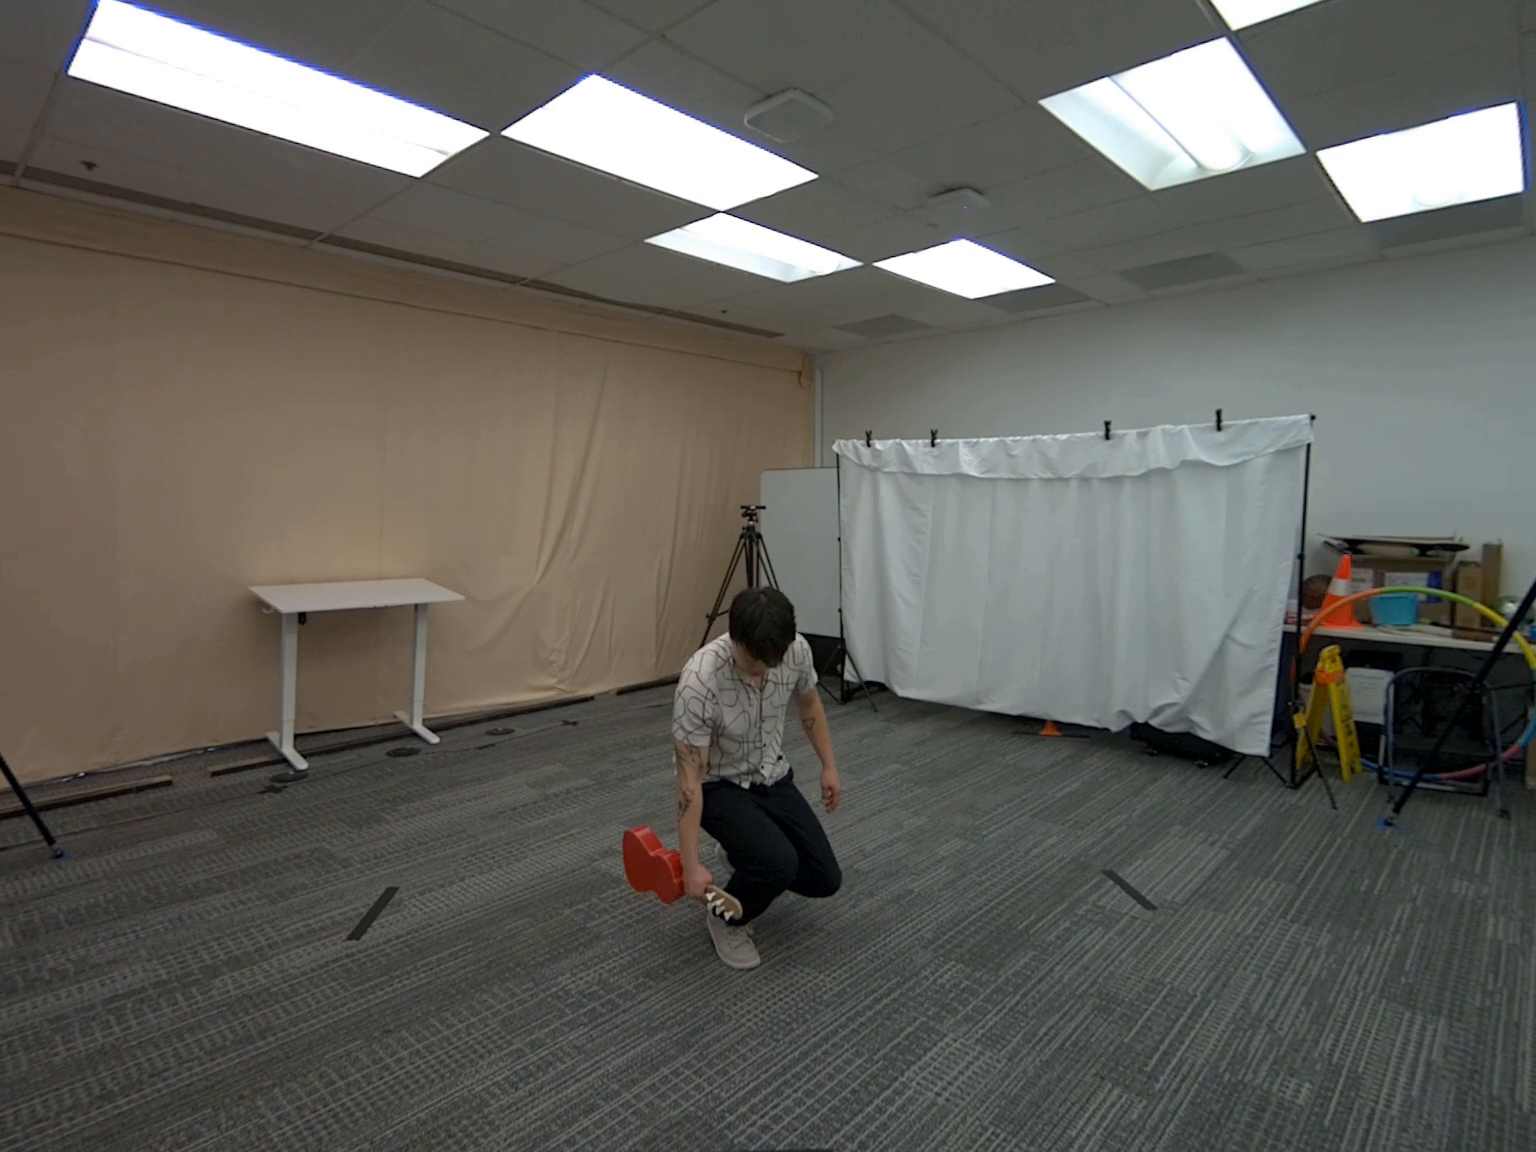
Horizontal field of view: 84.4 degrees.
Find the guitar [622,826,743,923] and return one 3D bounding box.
[{"bbox_3d":[-0.265,0.877,2.493,0.069,0.193,0.513,-10,4,-41],"label":"guitar"}]
